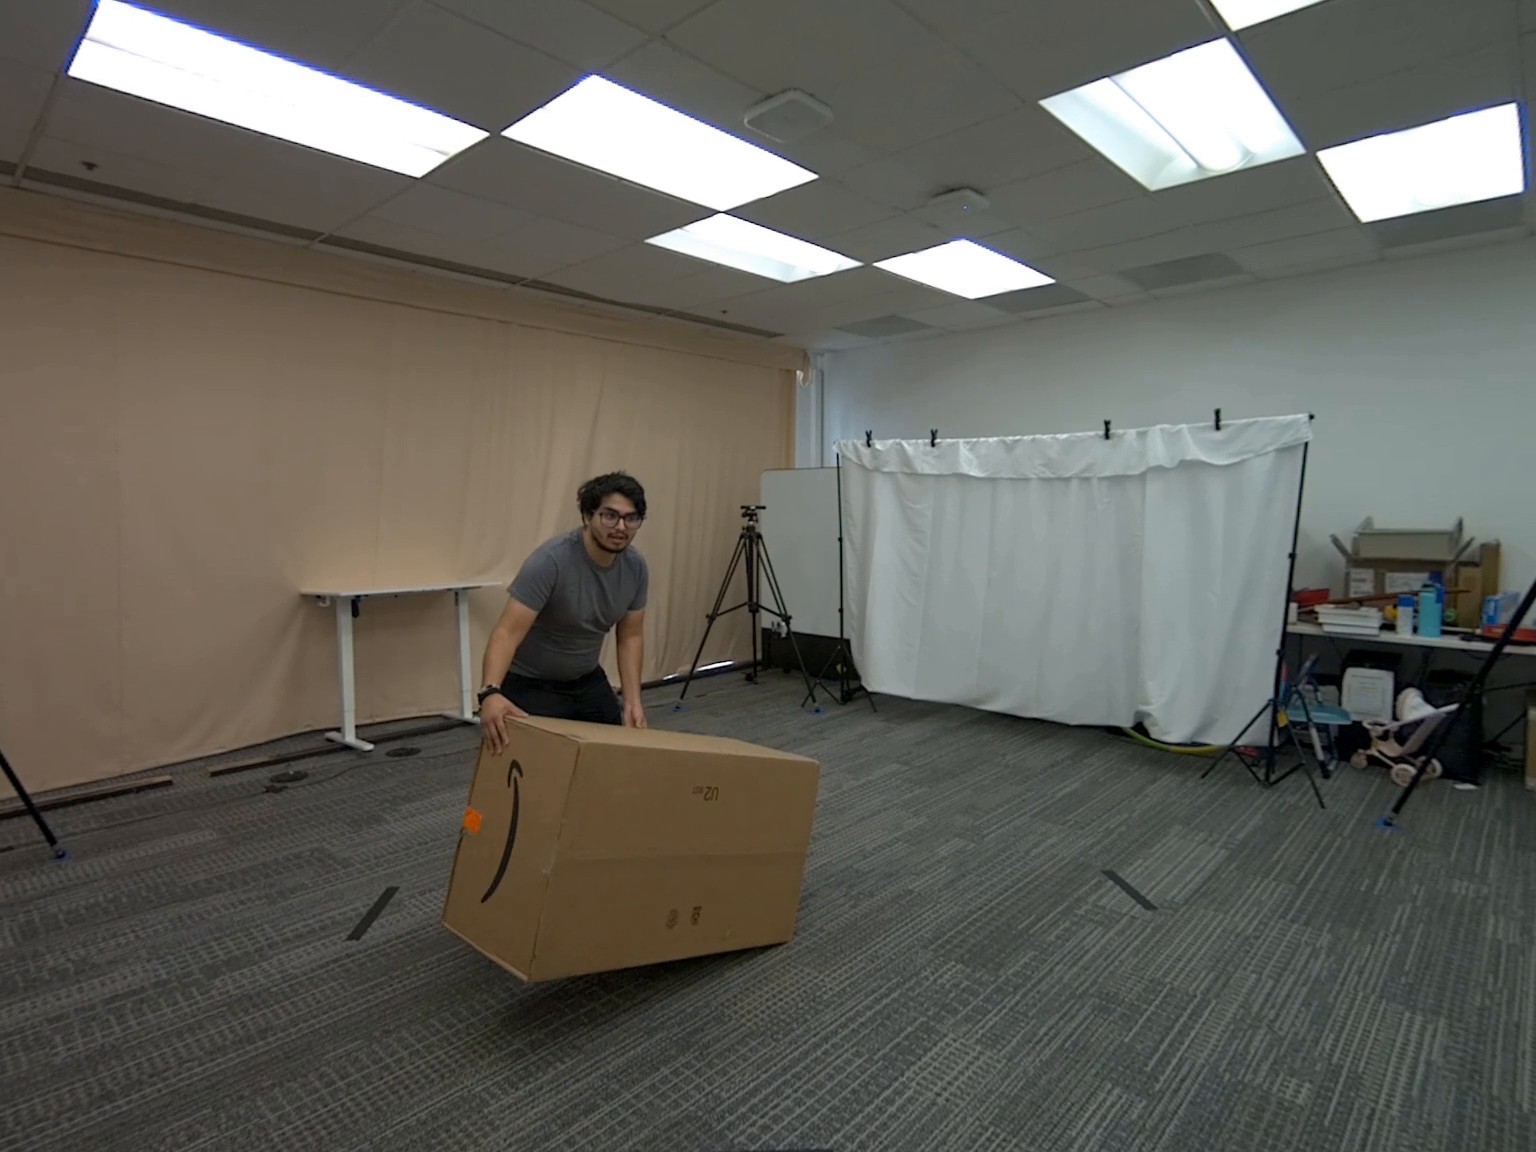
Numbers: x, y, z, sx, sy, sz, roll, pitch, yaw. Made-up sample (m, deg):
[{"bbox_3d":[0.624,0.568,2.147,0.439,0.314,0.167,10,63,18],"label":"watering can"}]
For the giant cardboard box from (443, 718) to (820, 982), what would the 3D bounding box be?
[{"bbox_3d":[-0.347,0.780,2.517,0.440,0.579,0.989,2,-11,42],"label":"giant cardboard box"}]
